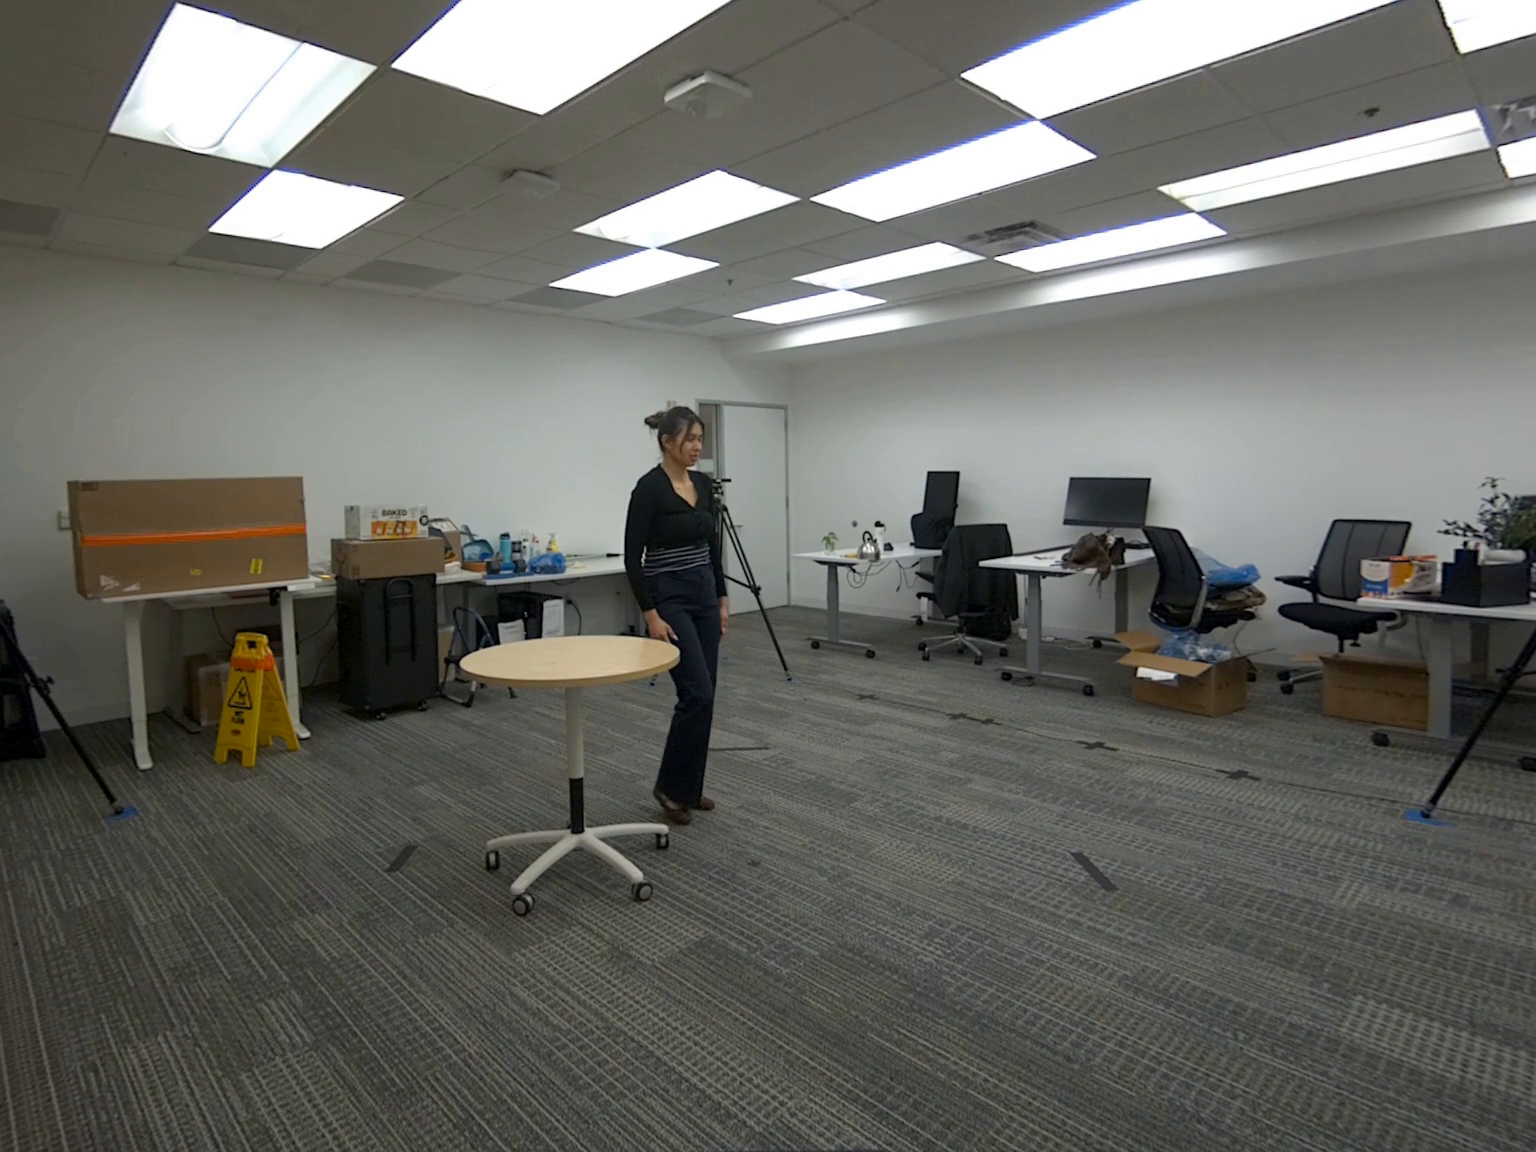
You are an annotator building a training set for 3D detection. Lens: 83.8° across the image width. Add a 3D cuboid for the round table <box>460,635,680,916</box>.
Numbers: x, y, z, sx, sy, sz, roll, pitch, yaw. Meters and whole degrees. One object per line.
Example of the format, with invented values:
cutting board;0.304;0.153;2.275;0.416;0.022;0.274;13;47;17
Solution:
round table;-0.687;0.672;3.055;0.763;0.791;0.768;-1;5;-2
